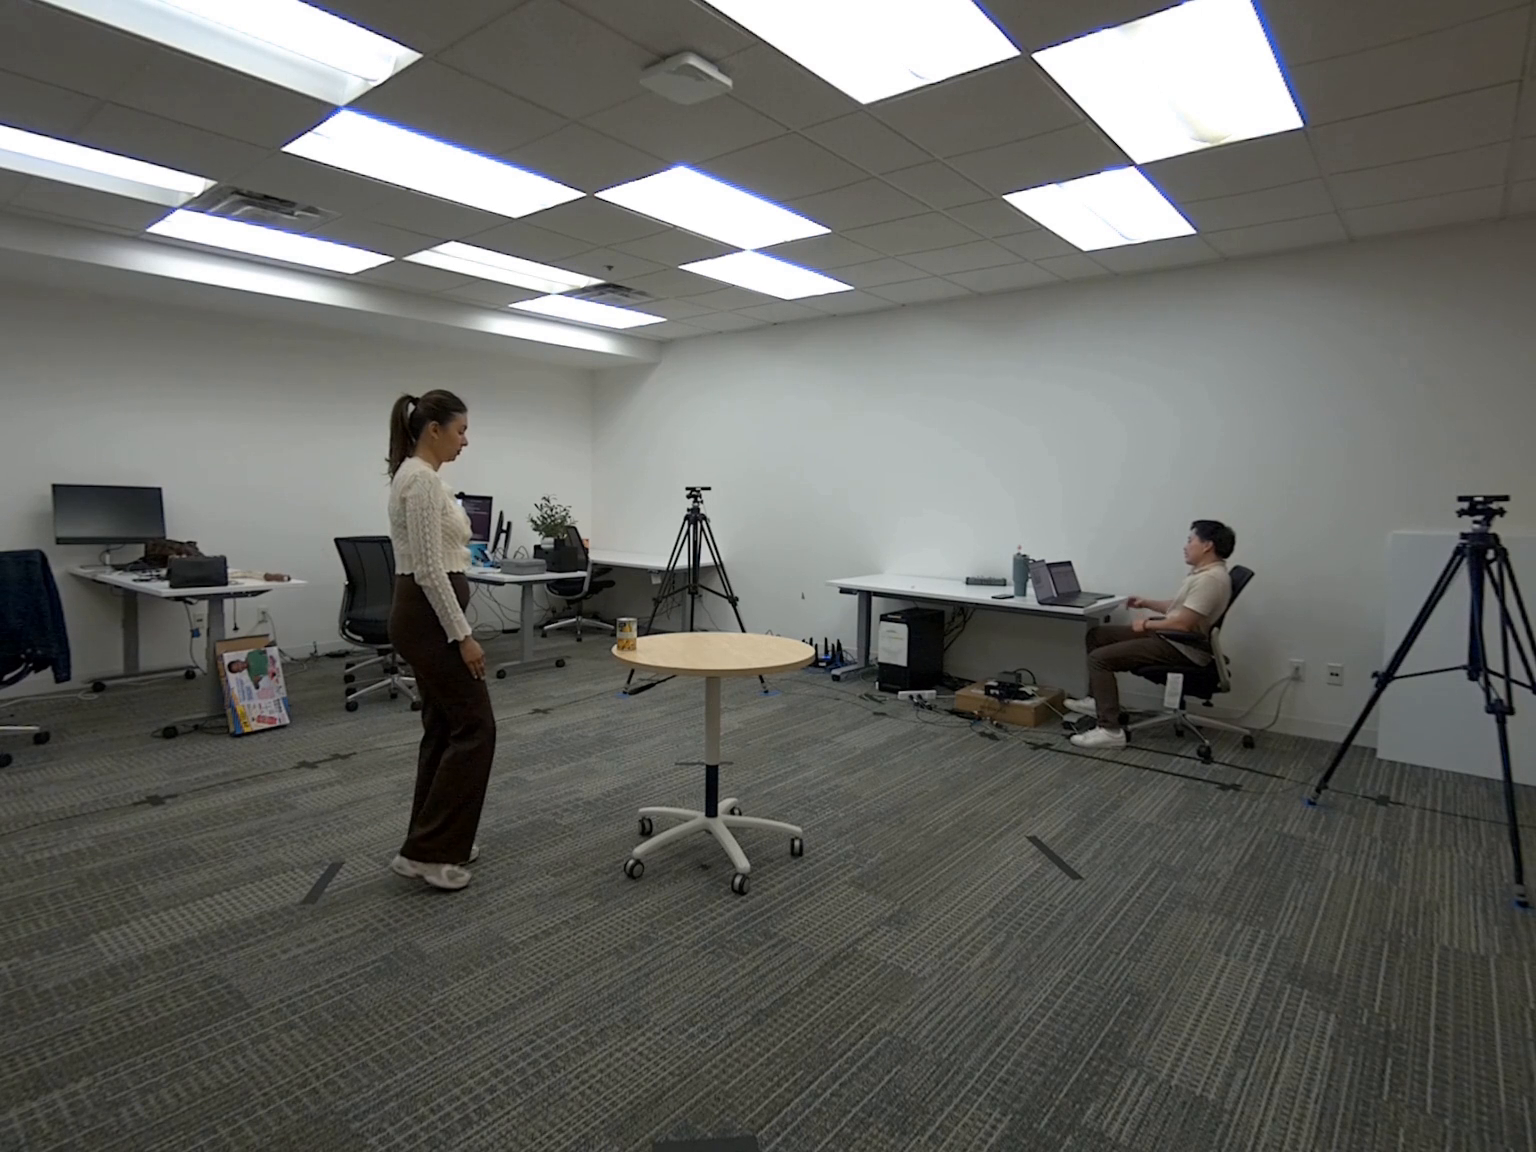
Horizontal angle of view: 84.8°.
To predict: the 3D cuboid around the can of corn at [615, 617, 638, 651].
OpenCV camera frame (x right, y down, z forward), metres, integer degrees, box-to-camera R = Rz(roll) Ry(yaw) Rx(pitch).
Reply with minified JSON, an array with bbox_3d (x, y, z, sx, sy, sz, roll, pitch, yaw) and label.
[{"bbox_3d":[-0.546,0.221,3.178,0.074,0.111,0.074,0,2,-2],"label":"can of corn"}]
